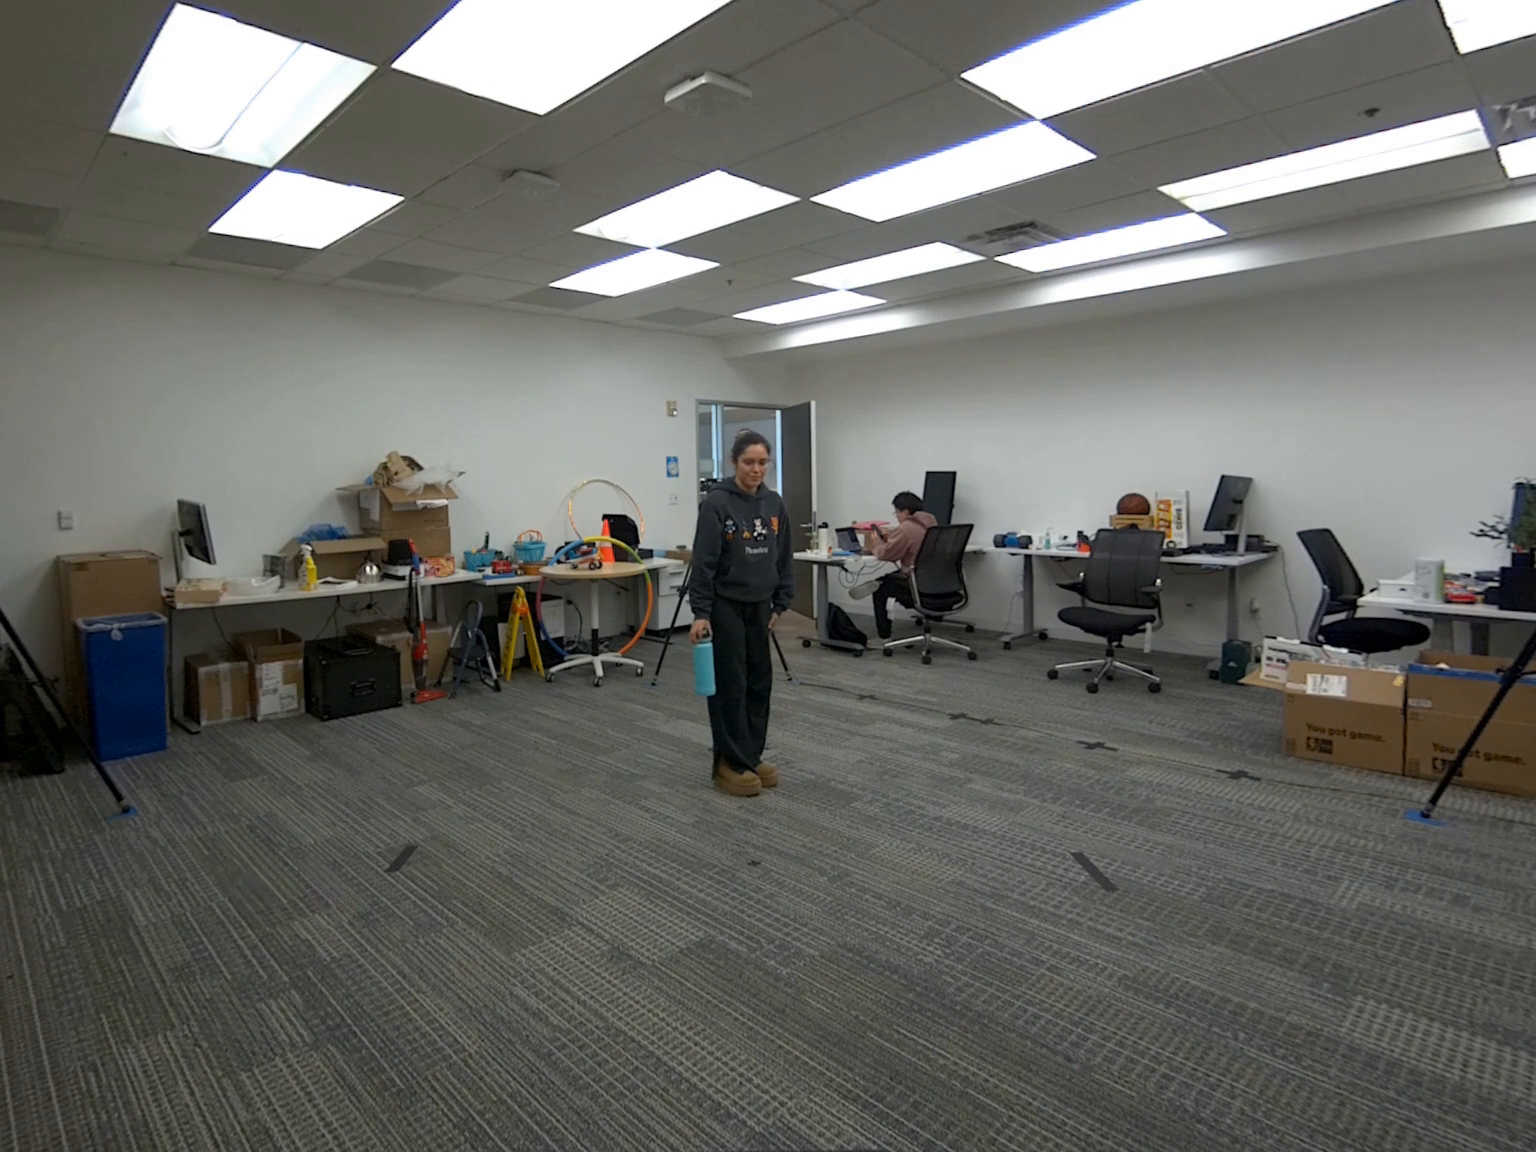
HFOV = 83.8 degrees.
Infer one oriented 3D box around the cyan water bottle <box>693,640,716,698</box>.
[{"bbox_3d":[-0.295,0.379,3.709,0.092,0.282,0.093,-3,6,-1],"label":"cyan water bottle"}]
